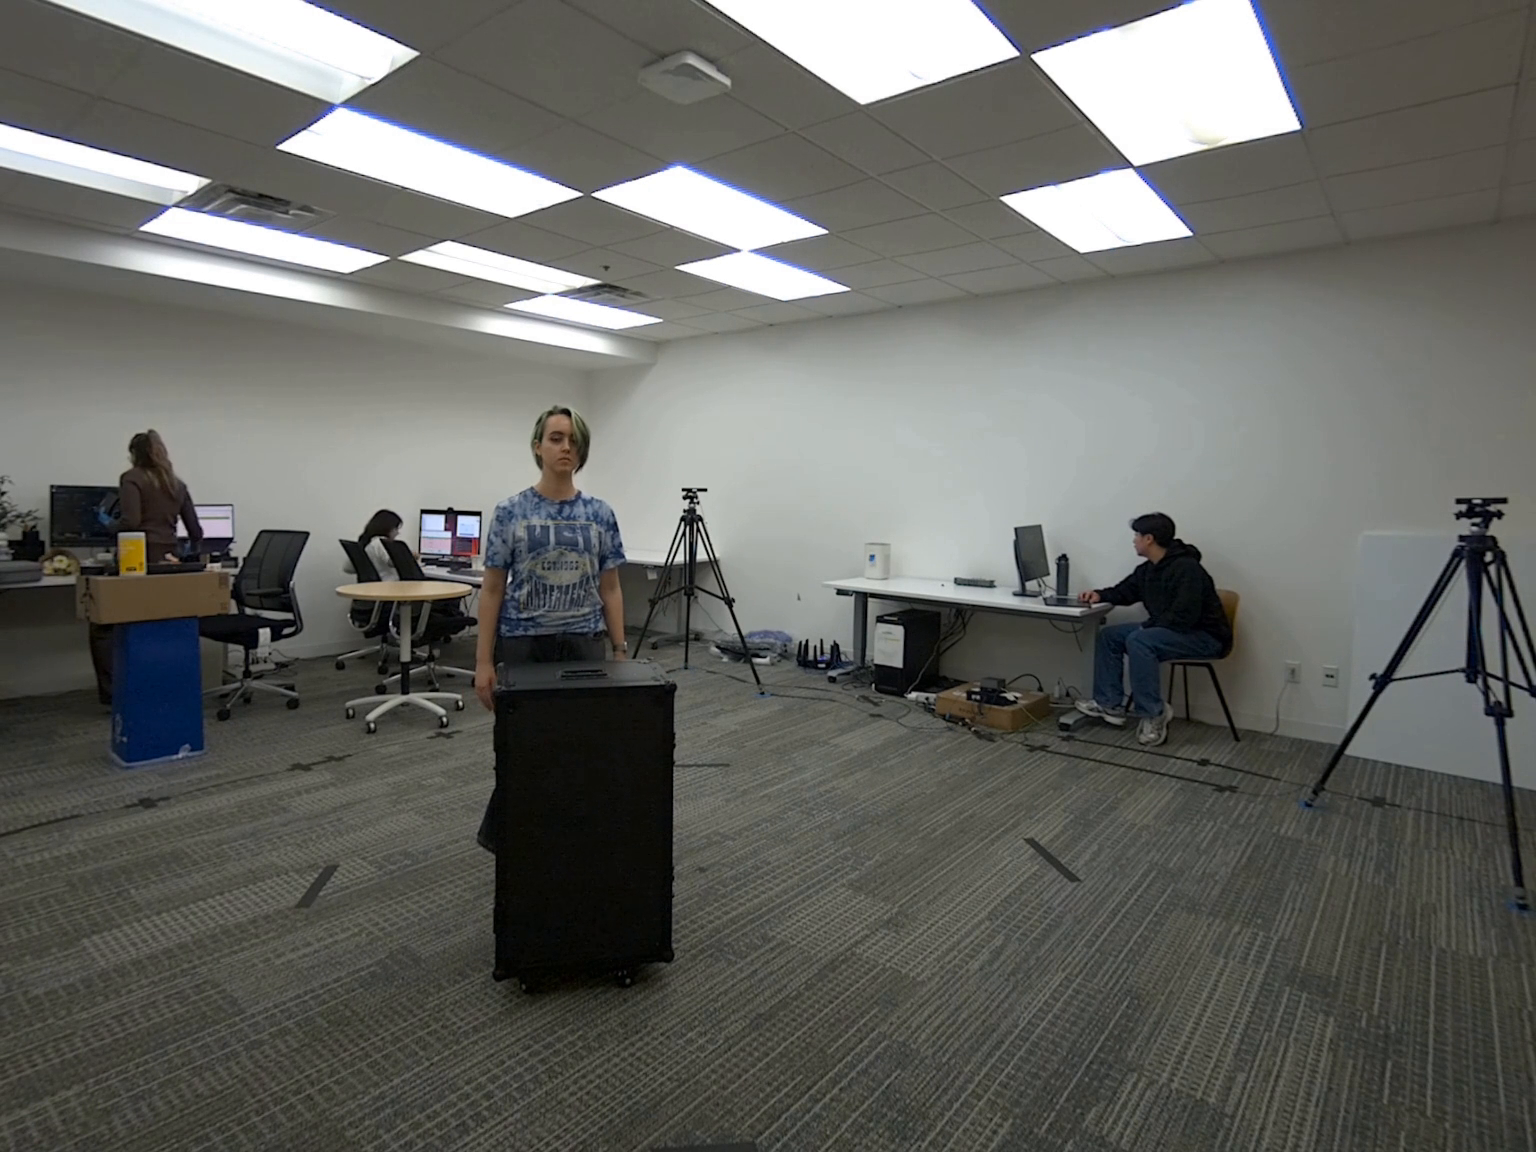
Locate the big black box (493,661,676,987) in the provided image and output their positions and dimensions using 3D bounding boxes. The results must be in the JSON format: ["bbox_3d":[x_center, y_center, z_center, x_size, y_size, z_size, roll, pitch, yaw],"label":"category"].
[{"bbox_3d":[-0.554,0.703,2.473,0.514,0.860,0.402,-1,2,-13],"label":"big black box"}]
